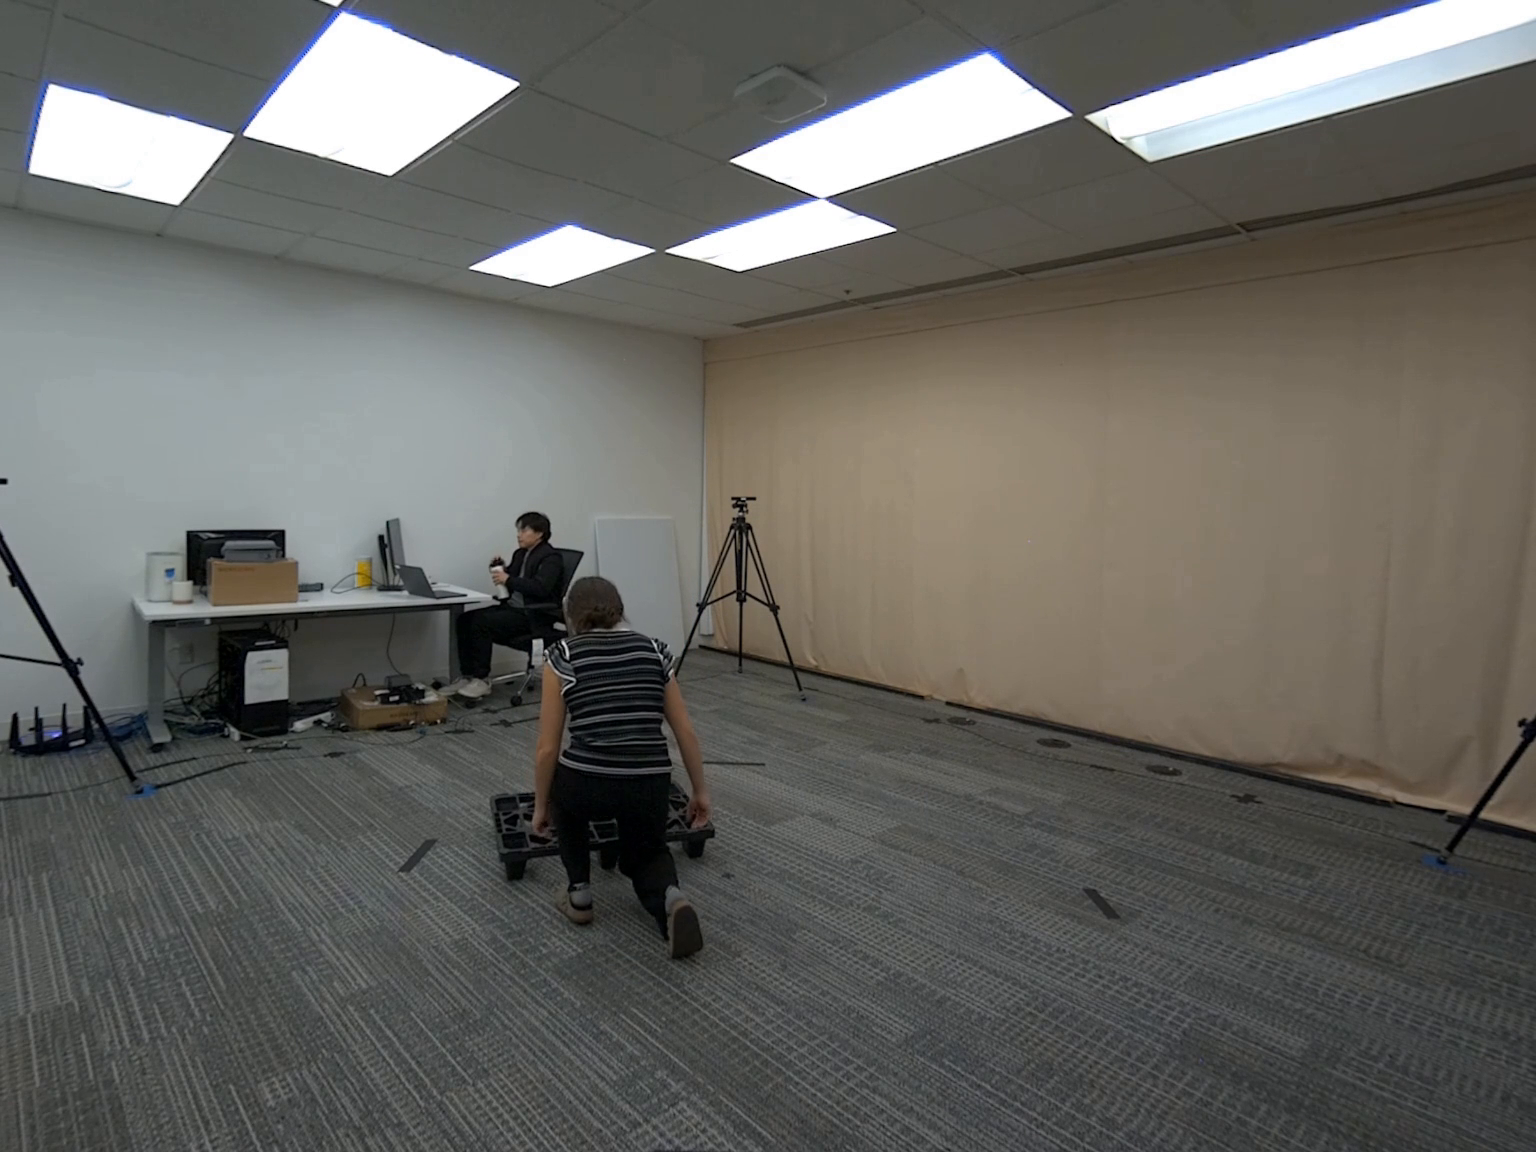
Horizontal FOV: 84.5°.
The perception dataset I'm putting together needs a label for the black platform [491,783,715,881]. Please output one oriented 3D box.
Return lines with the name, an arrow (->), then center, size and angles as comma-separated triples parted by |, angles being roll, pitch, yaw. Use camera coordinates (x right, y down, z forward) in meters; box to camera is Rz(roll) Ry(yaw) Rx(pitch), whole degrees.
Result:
black platform -> -0.689, 1.006, 3.358 | 0.793, 0.143, 0.616 | 0, 5, -20
